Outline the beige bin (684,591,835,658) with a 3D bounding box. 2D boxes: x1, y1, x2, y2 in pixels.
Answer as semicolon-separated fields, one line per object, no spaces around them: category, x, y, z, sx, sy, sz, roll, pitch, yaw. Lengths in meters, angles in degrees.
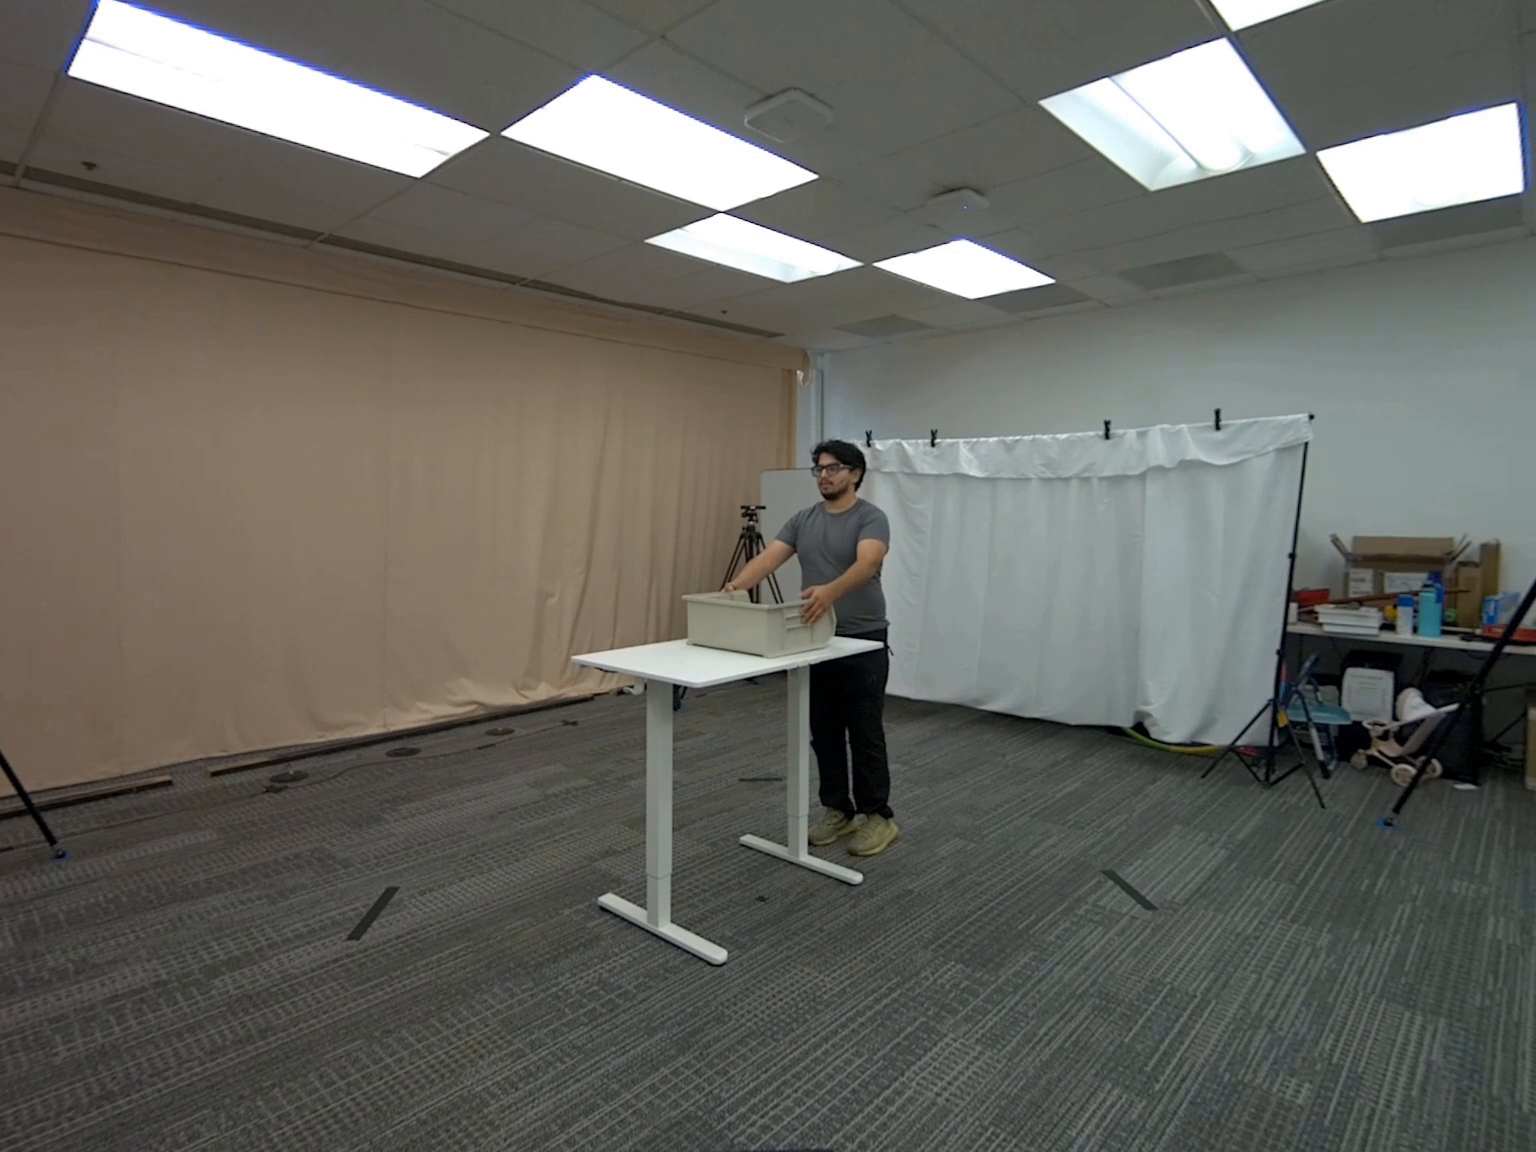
beige bin;-0.033;0.163;3.064;0.437;0.188;0.366;5;9;43
